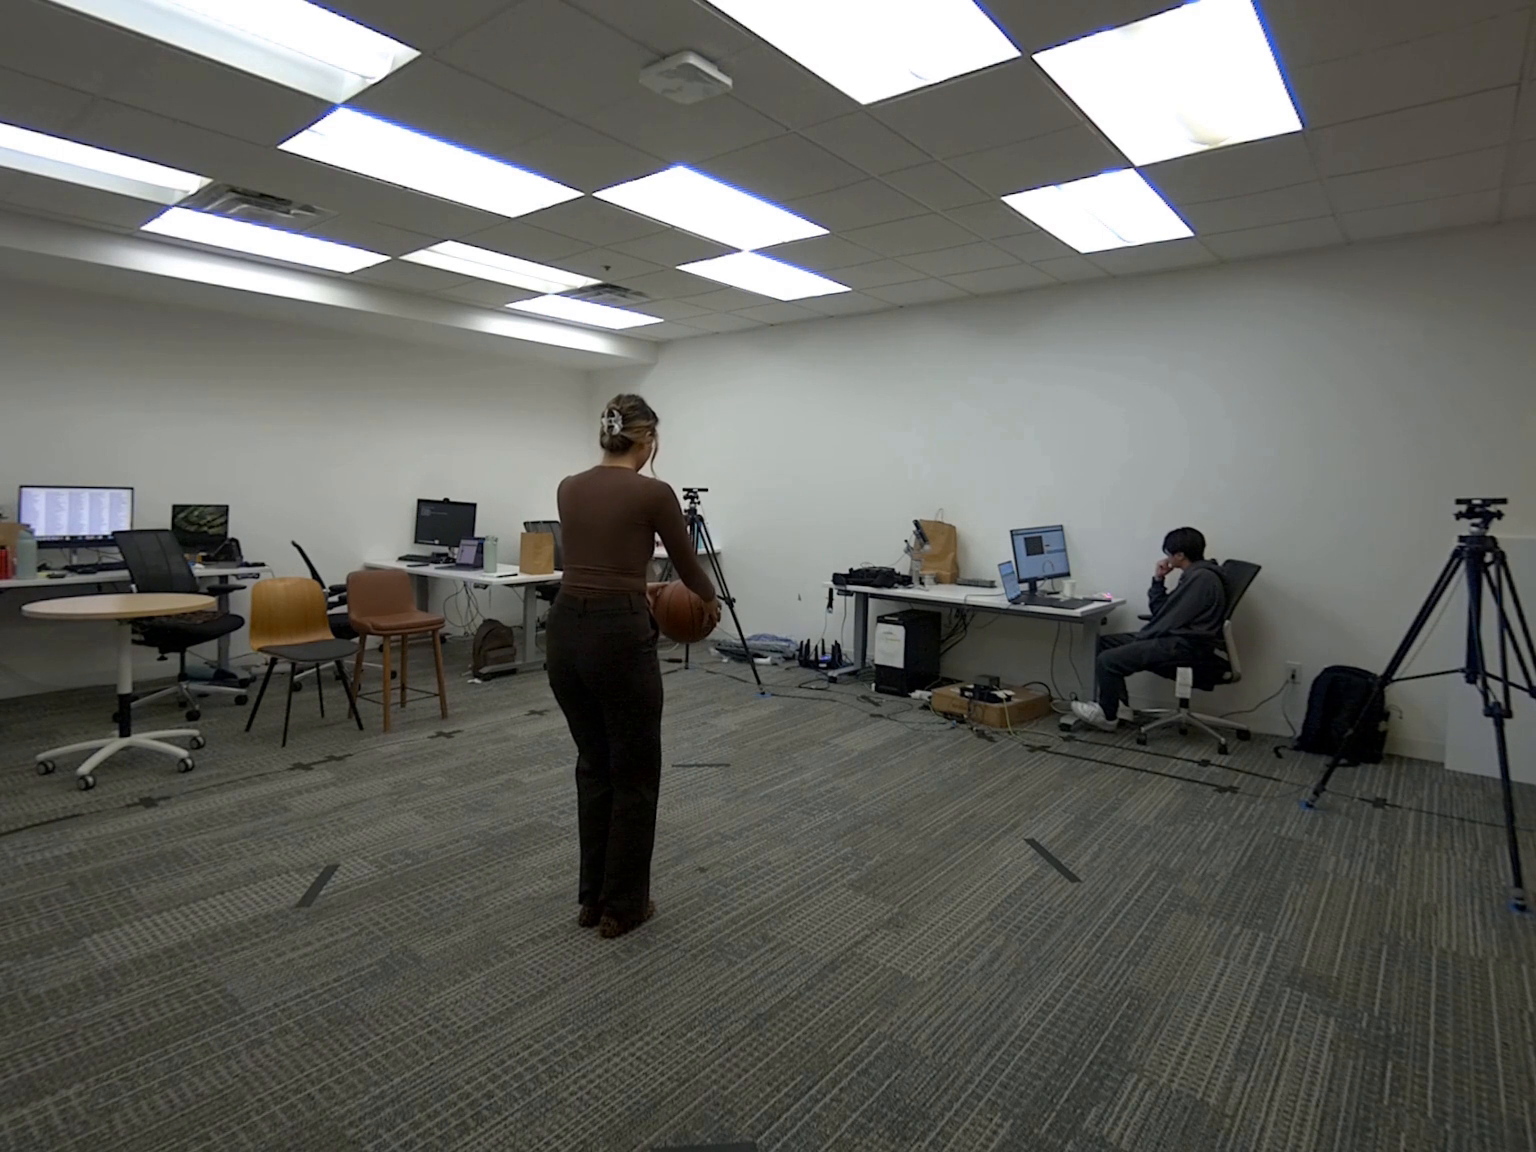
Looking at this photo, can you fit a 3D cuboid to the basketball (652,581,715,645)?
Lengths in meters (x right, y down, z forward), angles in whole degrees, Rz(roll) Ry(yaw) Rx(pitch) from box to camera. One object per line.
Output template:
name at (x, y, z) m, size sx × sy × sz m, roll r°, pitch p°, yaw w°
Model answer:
basketball at (-0.313, 0.134, 3.126) m, size 0.235 × 0.235 × 0.237 m, roll 1°, pitch 4°, yaw -2°
